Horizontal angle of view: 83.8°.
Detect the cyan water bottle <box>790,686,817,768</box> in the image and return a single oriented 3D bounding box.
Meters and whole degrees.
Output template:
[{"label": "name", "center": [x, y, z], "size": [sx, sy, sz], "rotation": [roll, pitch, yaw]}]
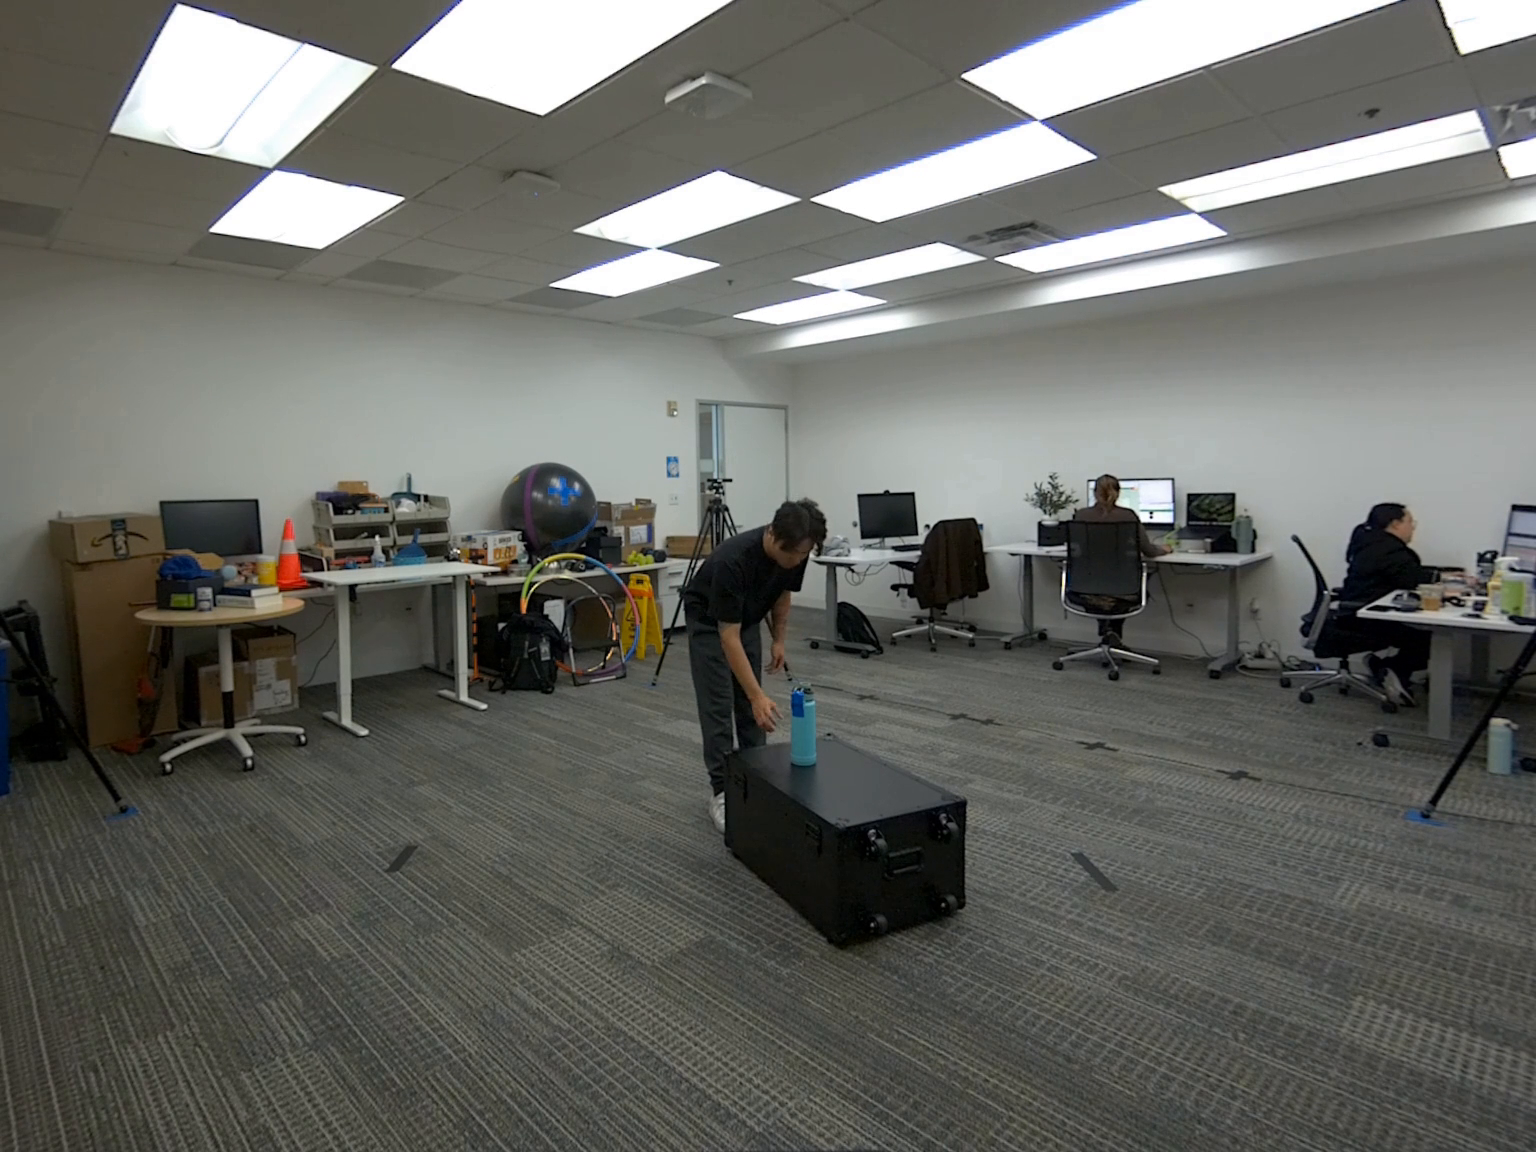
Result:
[{"label": "cyan water bottle", "center": [0.129, 0.532, 3.070], "size": [0.092, 0.282, 0.093], "rotation": [-1, 5, -2]}]
